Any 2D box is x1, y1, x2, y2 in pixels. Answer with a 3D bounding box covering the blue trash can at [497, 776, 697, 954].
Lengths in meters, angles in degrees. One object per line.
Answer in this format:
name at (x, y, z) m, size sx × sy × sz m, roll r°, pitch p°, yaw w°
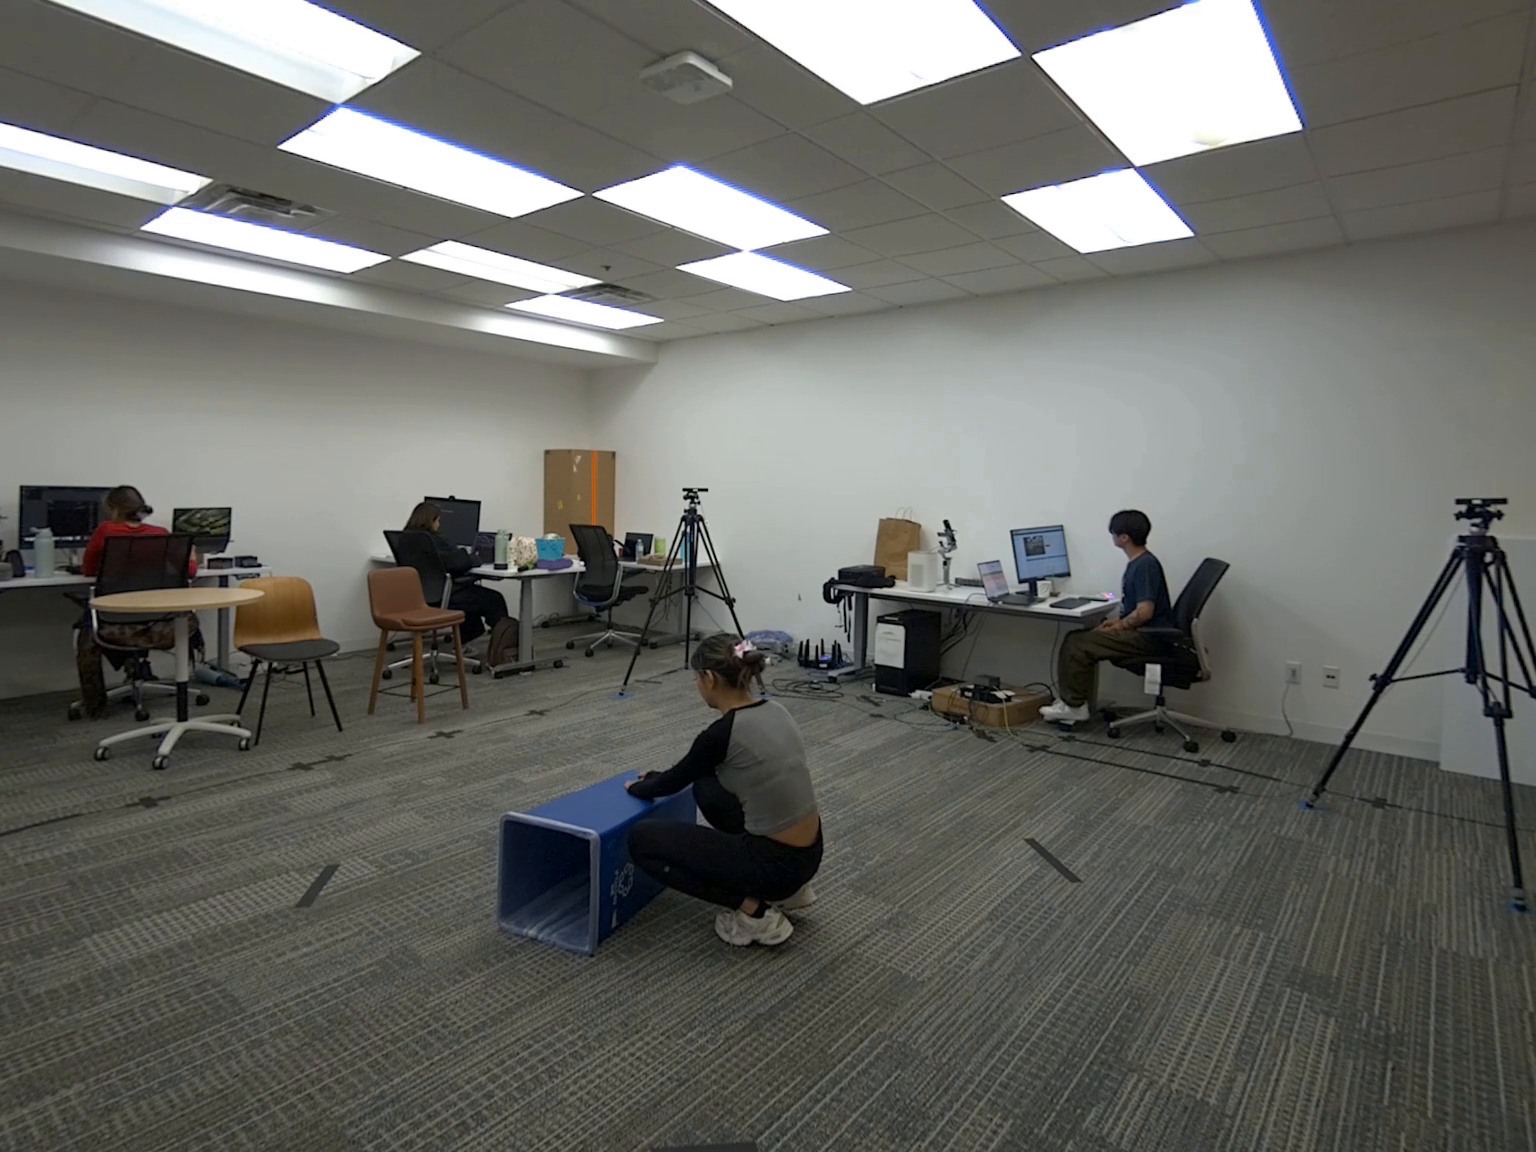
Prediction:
blue trash can at (-0.547, 0.916, 2.899) m, size 0.384 × 0.378 × 0.696 m, roll 2°, pitch 2°, yaw 25°
